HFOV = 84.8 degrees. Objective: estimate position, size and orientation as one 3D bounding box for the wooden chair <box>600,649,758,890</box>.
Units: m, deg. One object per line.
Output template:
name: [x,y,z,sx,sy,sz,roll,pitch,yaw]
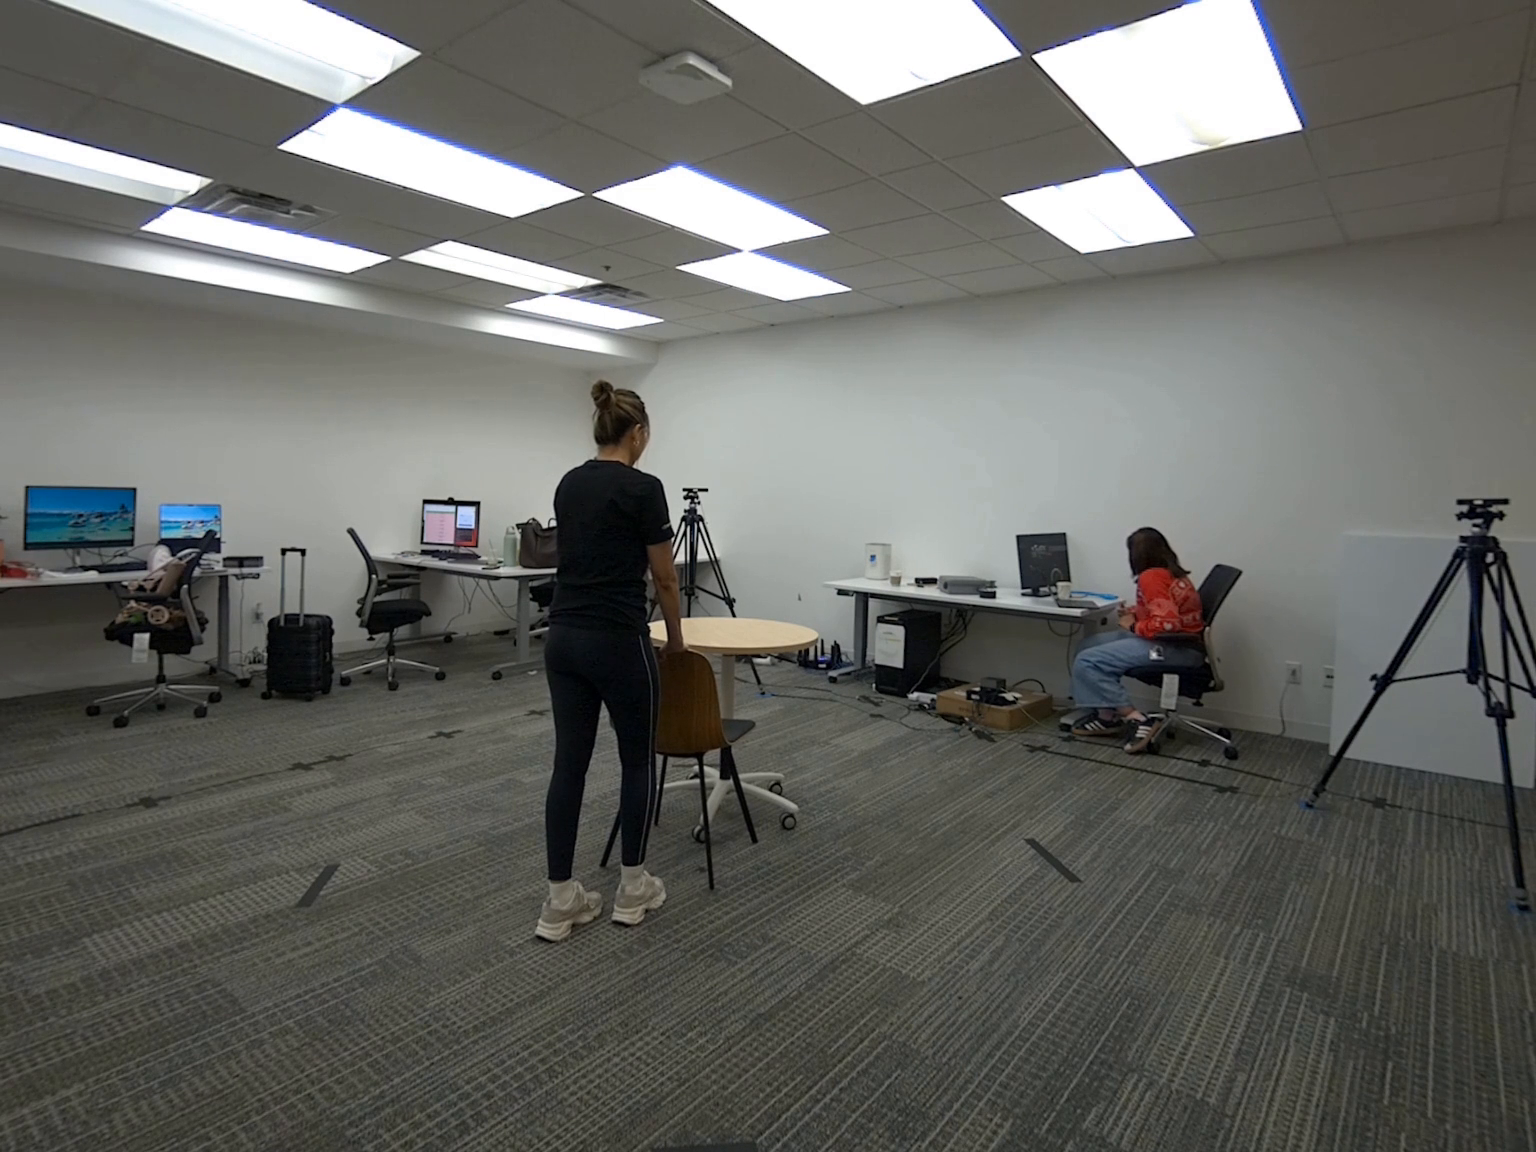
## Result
wooden chair: [-0.328,0.629,3.211,0.489,0.872,0.515,2,7,21]
